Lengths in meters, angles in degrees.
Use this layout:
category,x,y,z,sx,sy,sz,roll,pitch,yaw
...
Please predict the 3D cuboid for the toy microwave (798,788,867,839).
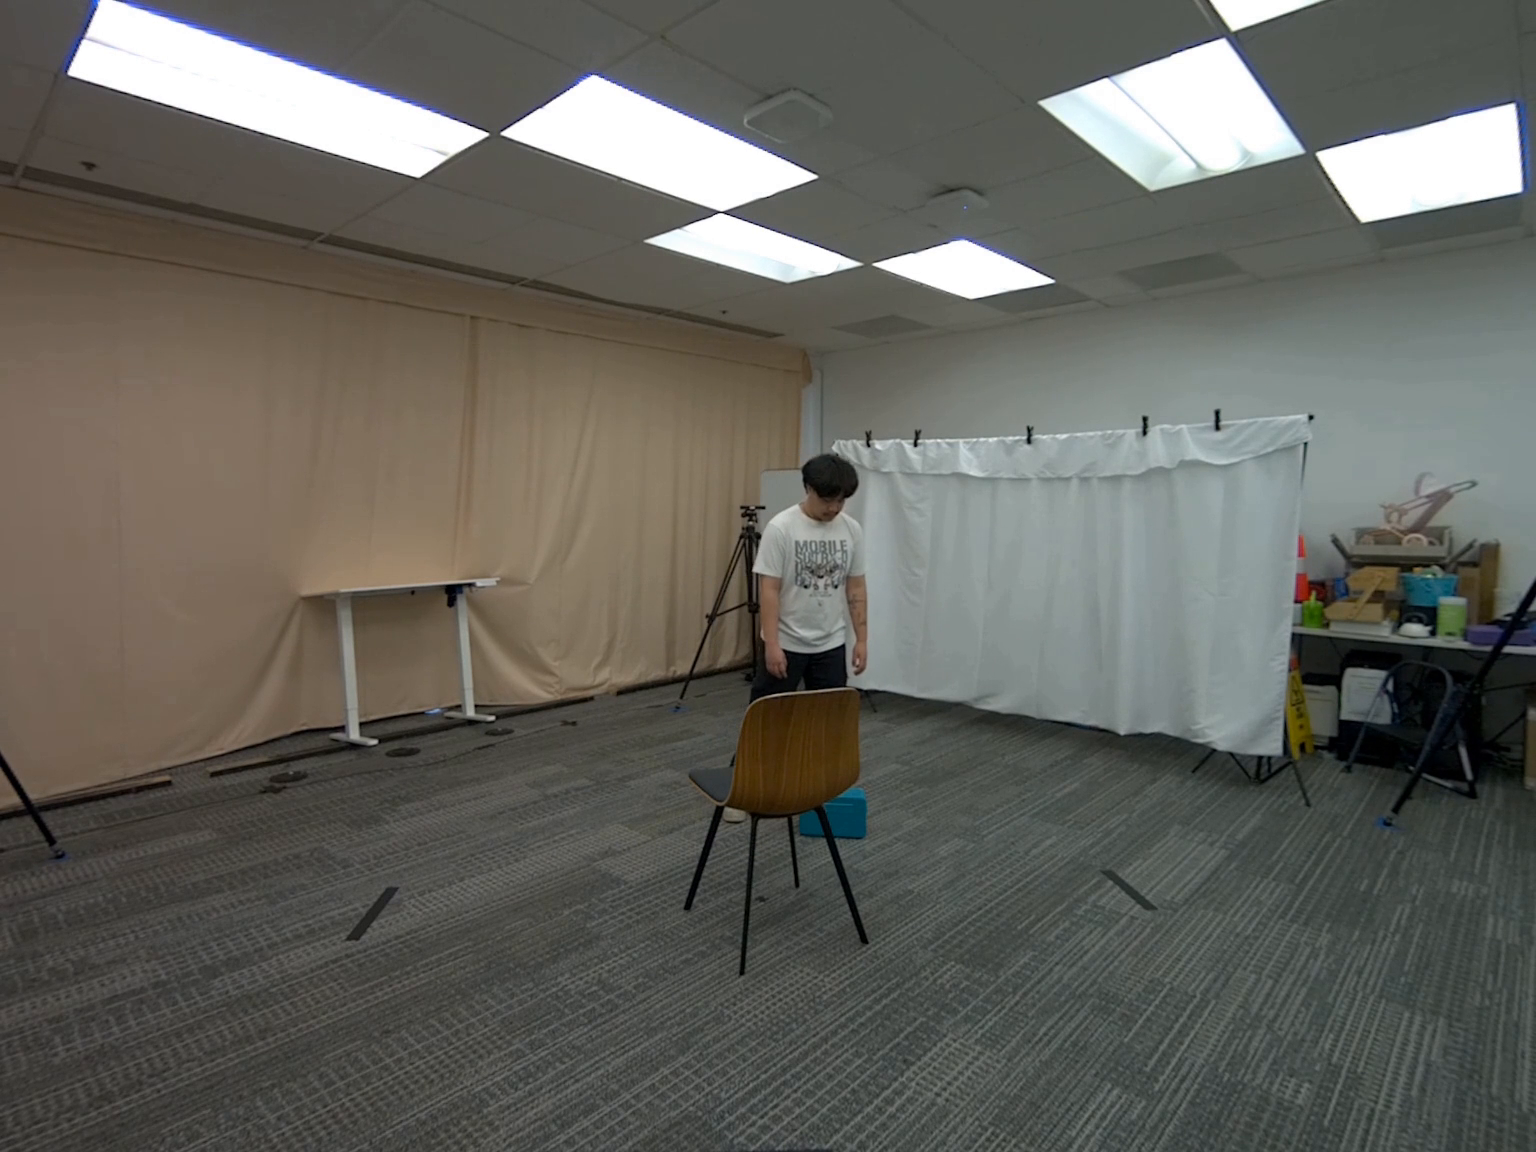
category,x,y,z,sx,sy,sz,roll,pitch,yaw
toy microwave,0.275,0.999,3.592,0.288,0.183,0.152,1,6,7
